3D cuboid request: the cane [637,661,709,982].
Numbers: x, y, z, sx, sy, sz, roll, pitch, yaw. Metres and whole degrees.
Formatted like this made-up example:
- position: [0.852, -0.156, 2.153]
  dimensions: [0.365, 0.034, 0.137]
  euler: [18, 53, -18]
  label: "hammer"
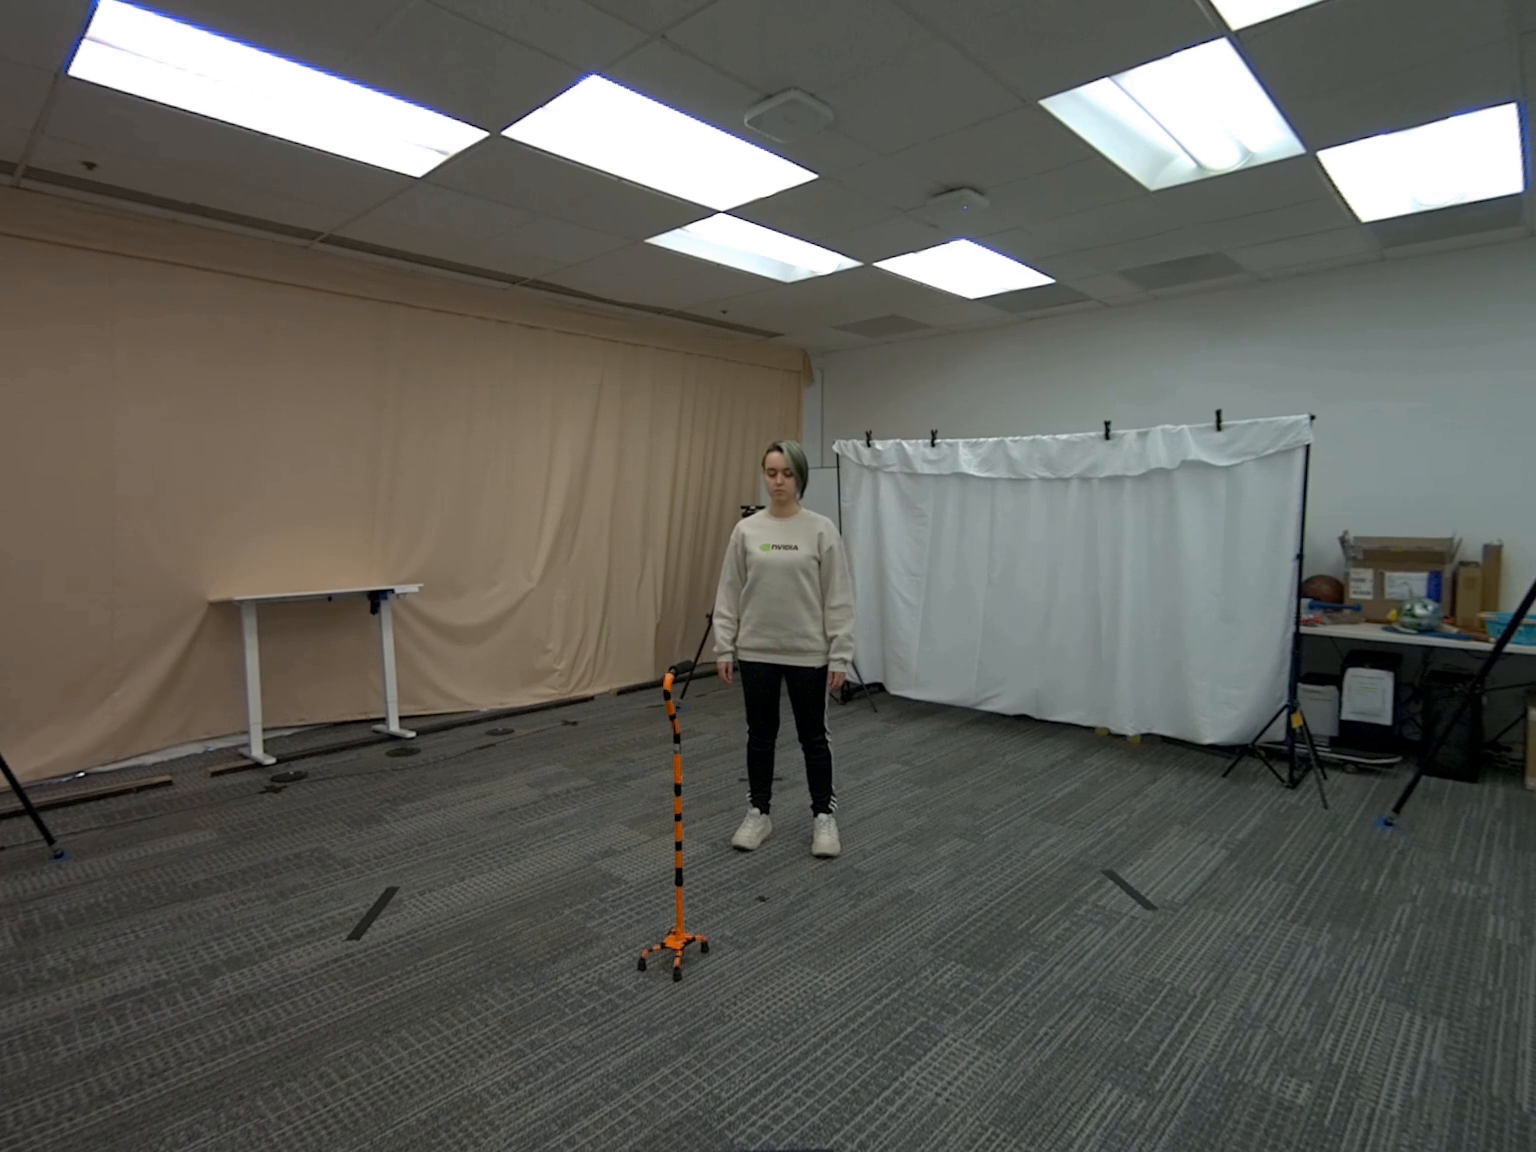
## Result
- position: [-0.290, 0.724, 2.558]
  dimensions: [0.155, 0.906, 0.202]
  euler: [1, 4, 23]
  label: "cane"
